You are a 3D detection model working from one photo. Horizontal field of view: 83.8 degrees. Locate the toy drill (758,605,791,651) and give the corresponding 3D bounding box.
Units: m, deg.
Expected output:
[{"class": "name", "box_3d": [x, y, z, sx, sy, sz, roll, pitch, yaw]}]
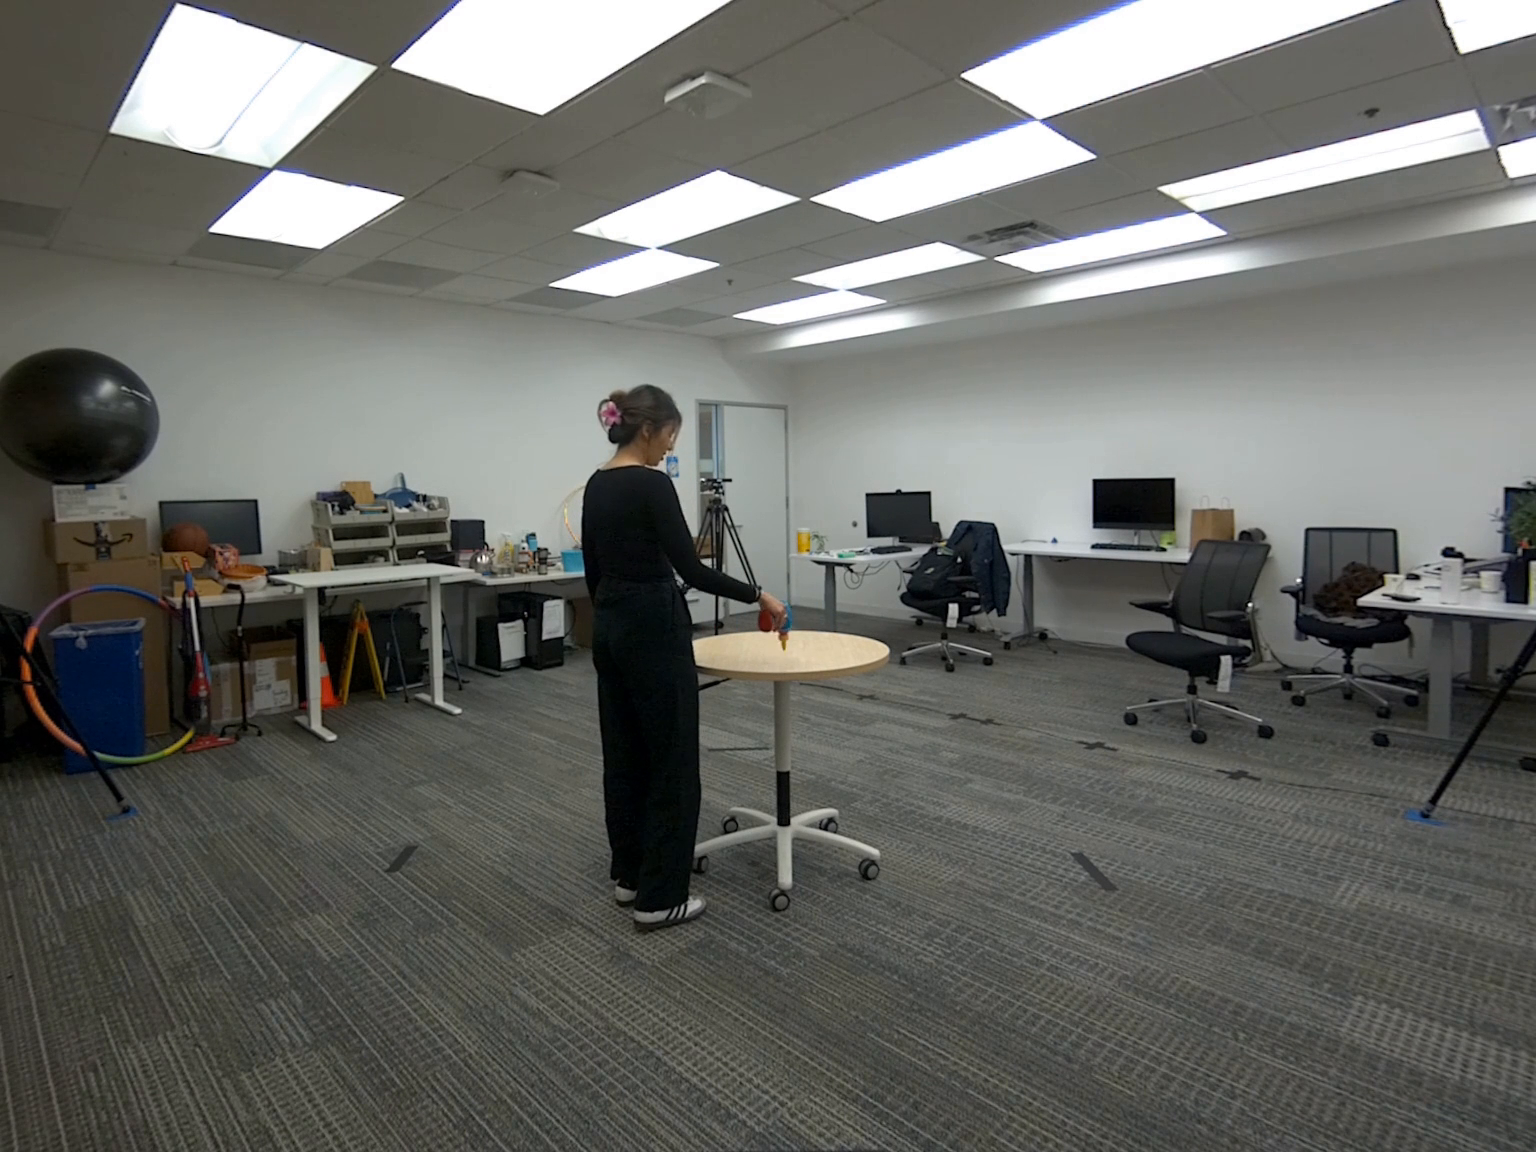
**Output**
[{"class": "toy drill", "box_3d": [0.018, 0.173, 2.788, 0.063, 0.168, 0.143, 4, 9, 33]}]
